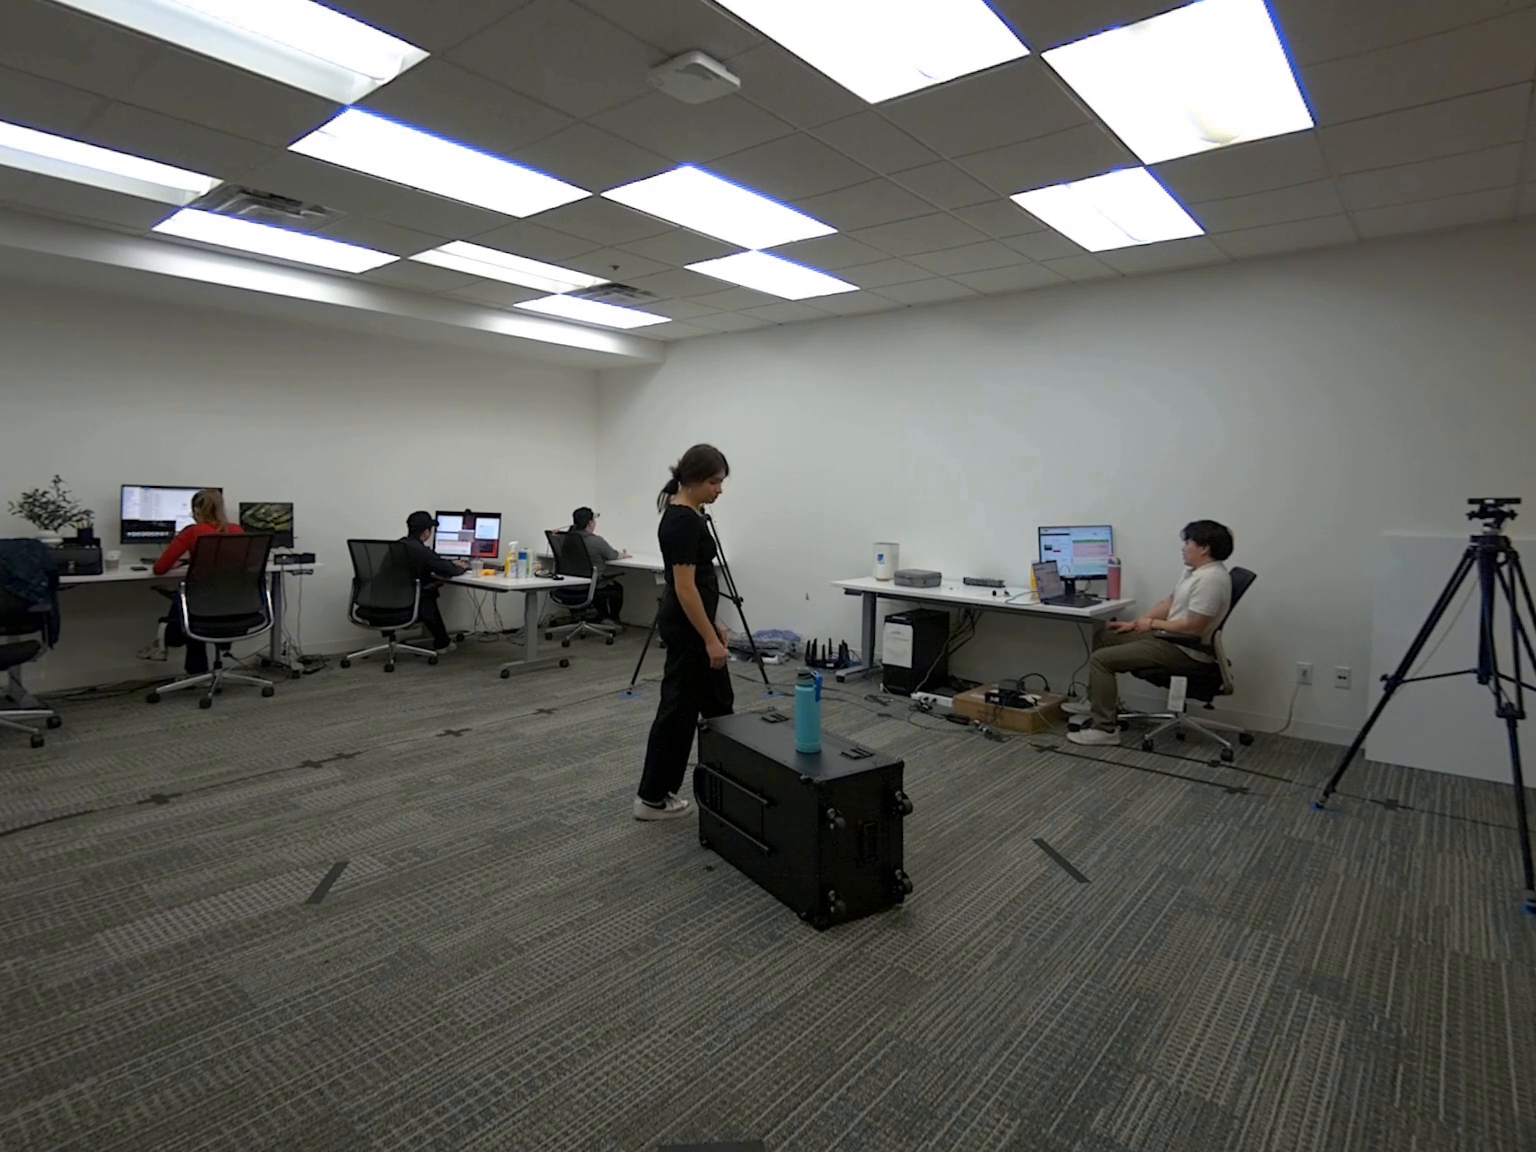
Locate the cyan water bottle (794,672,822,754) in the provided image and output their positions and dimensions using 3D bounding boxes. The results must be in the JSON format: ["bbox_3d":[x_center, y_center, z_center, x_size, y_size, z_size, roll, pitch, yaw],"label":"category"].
[{"bbox_3d":[0.133,0.461,2.957,0.092,0.282,0.093,0,4,-2],"label":"cyan water bottle"}]
